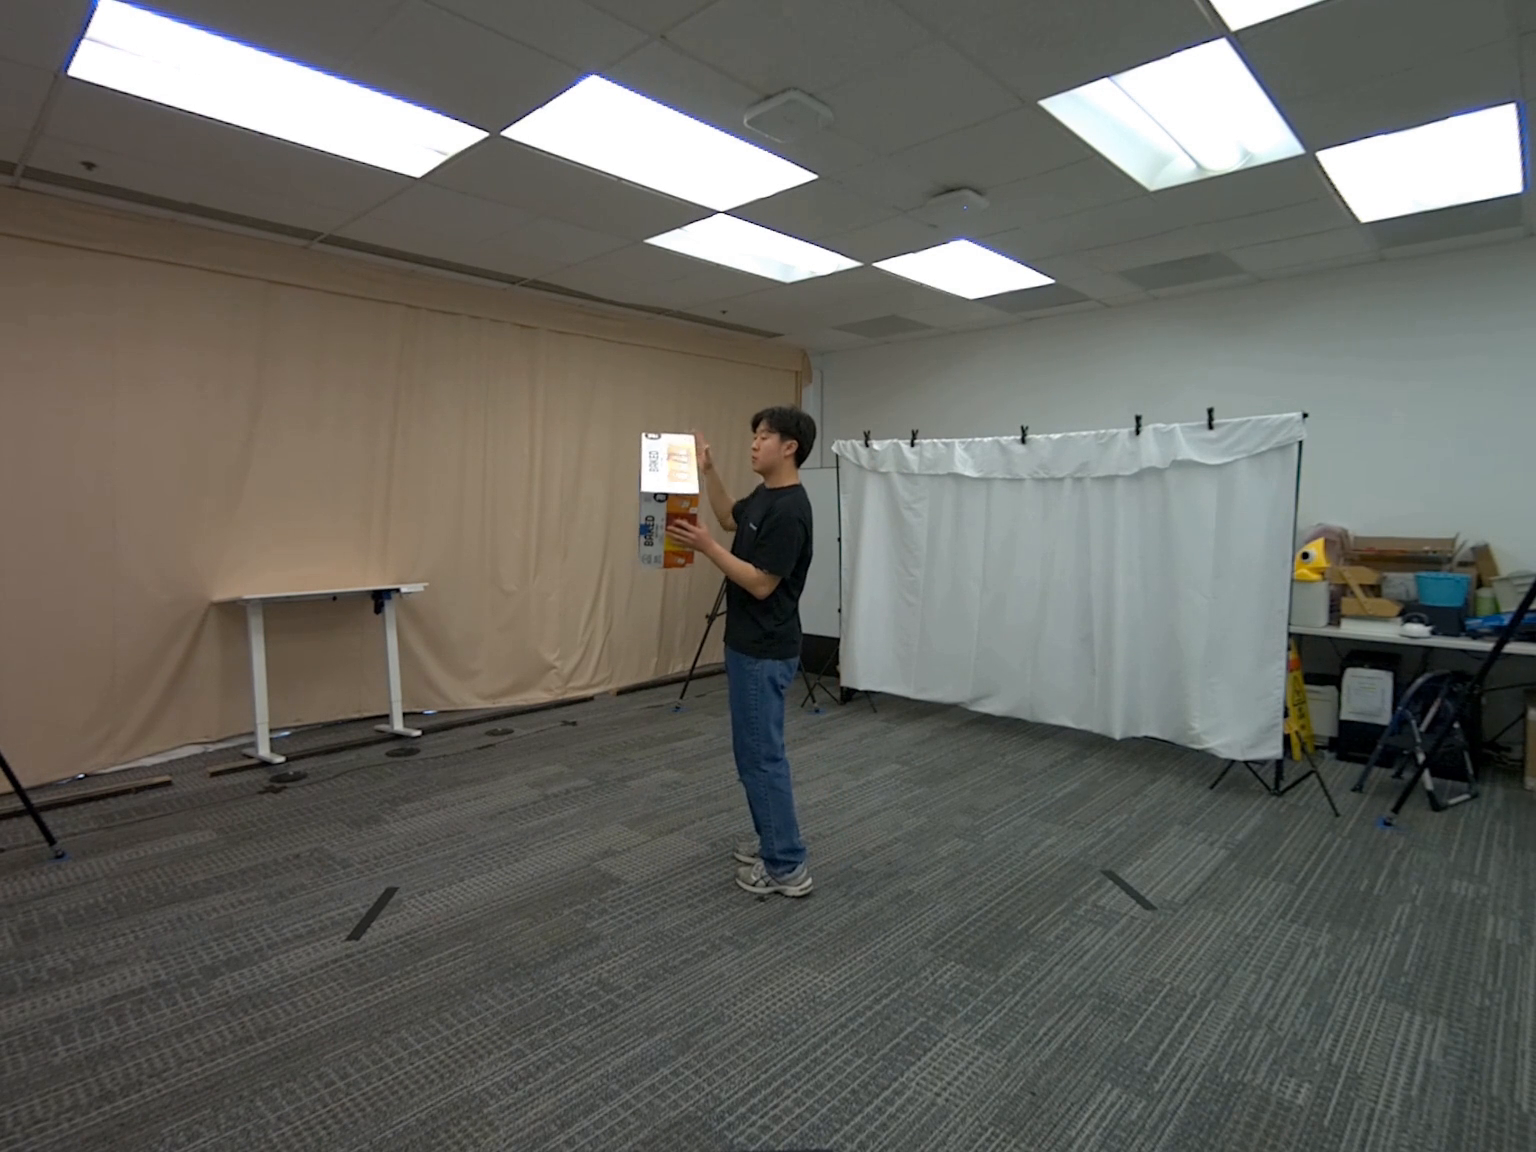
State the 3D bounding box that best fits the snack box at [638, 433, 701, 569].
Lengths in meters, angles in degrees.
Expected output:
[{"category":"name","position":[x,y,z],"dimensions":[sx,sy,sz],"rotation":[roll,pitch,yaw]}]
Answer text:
[{"category":"snack box","position":[-0.383,-0.273,3.175],"dimensions":[0.204,0.335,0.414],"rotation":[1,38,-8]}]
